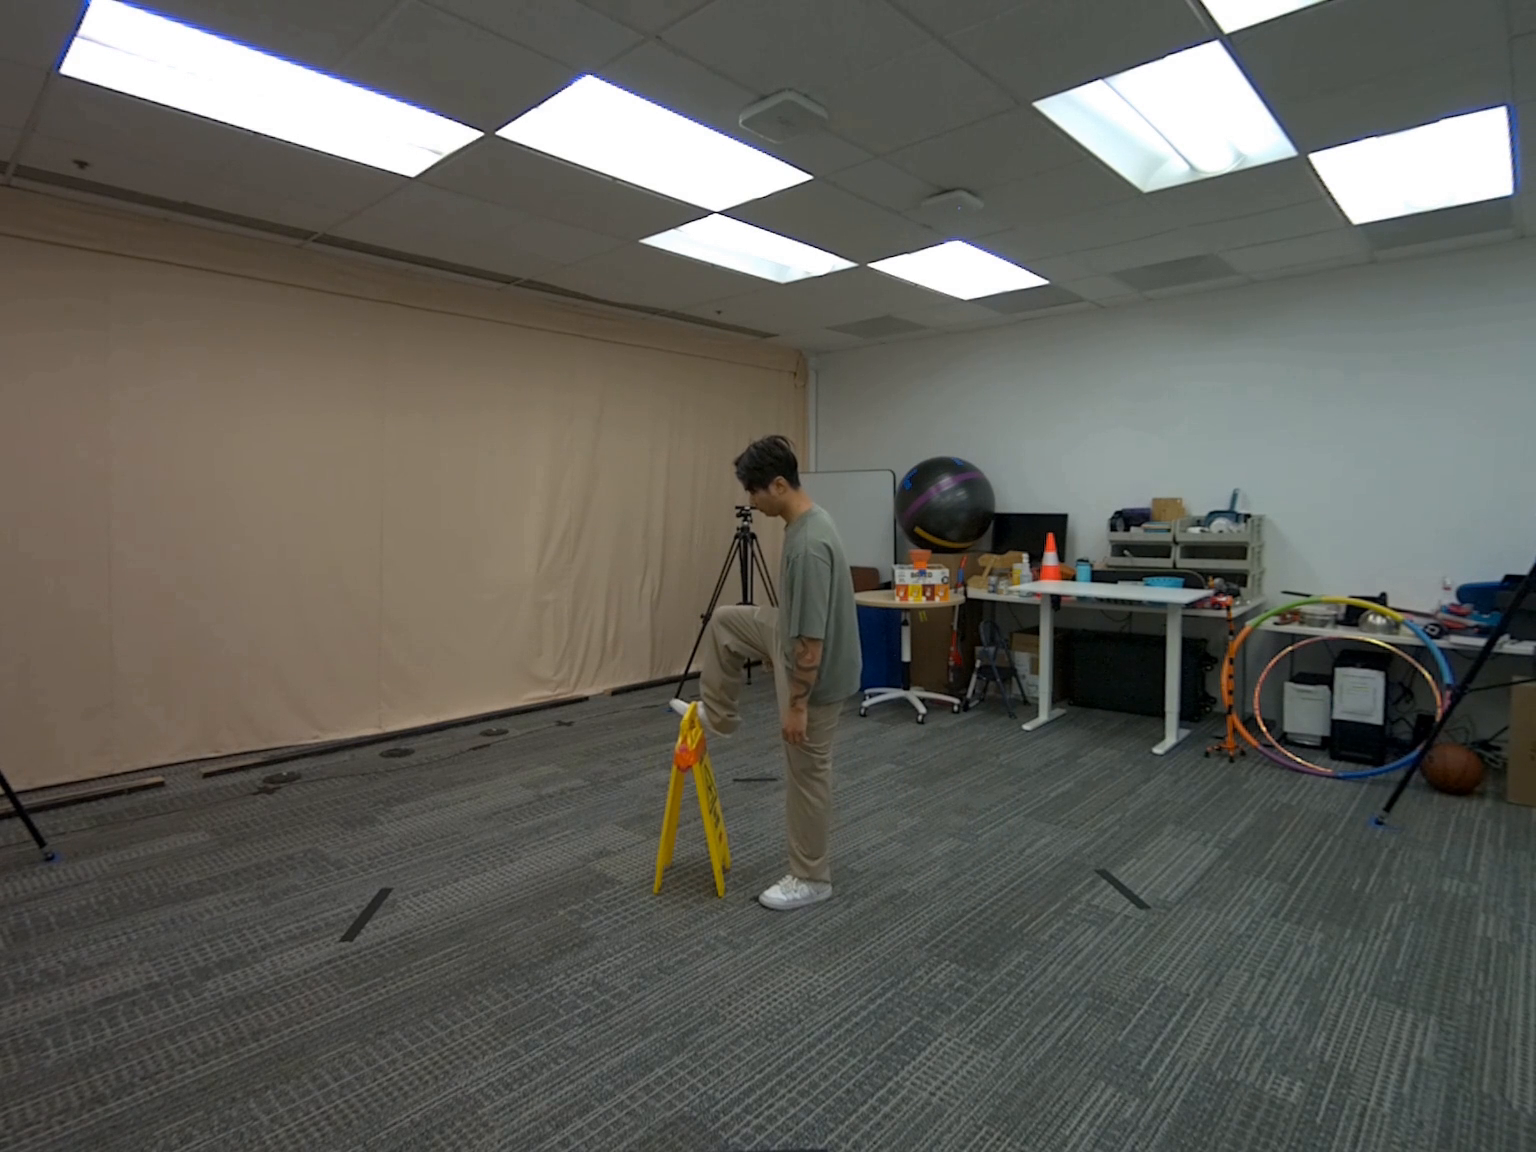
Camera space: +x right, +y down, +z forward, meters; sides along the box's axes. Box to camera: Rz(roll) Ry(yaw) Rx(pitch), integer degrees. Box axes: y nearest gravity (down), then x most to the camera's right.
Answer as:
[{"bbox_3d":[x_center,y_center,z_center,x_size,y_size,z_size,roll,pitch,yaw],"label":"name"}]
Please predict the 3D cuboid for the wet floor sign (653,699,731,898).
[{"bbox_3d":[-0.284,0.809,3.088,0.292,0.643,0.282,-2,7,5],"label":"wet floor sign"}]
